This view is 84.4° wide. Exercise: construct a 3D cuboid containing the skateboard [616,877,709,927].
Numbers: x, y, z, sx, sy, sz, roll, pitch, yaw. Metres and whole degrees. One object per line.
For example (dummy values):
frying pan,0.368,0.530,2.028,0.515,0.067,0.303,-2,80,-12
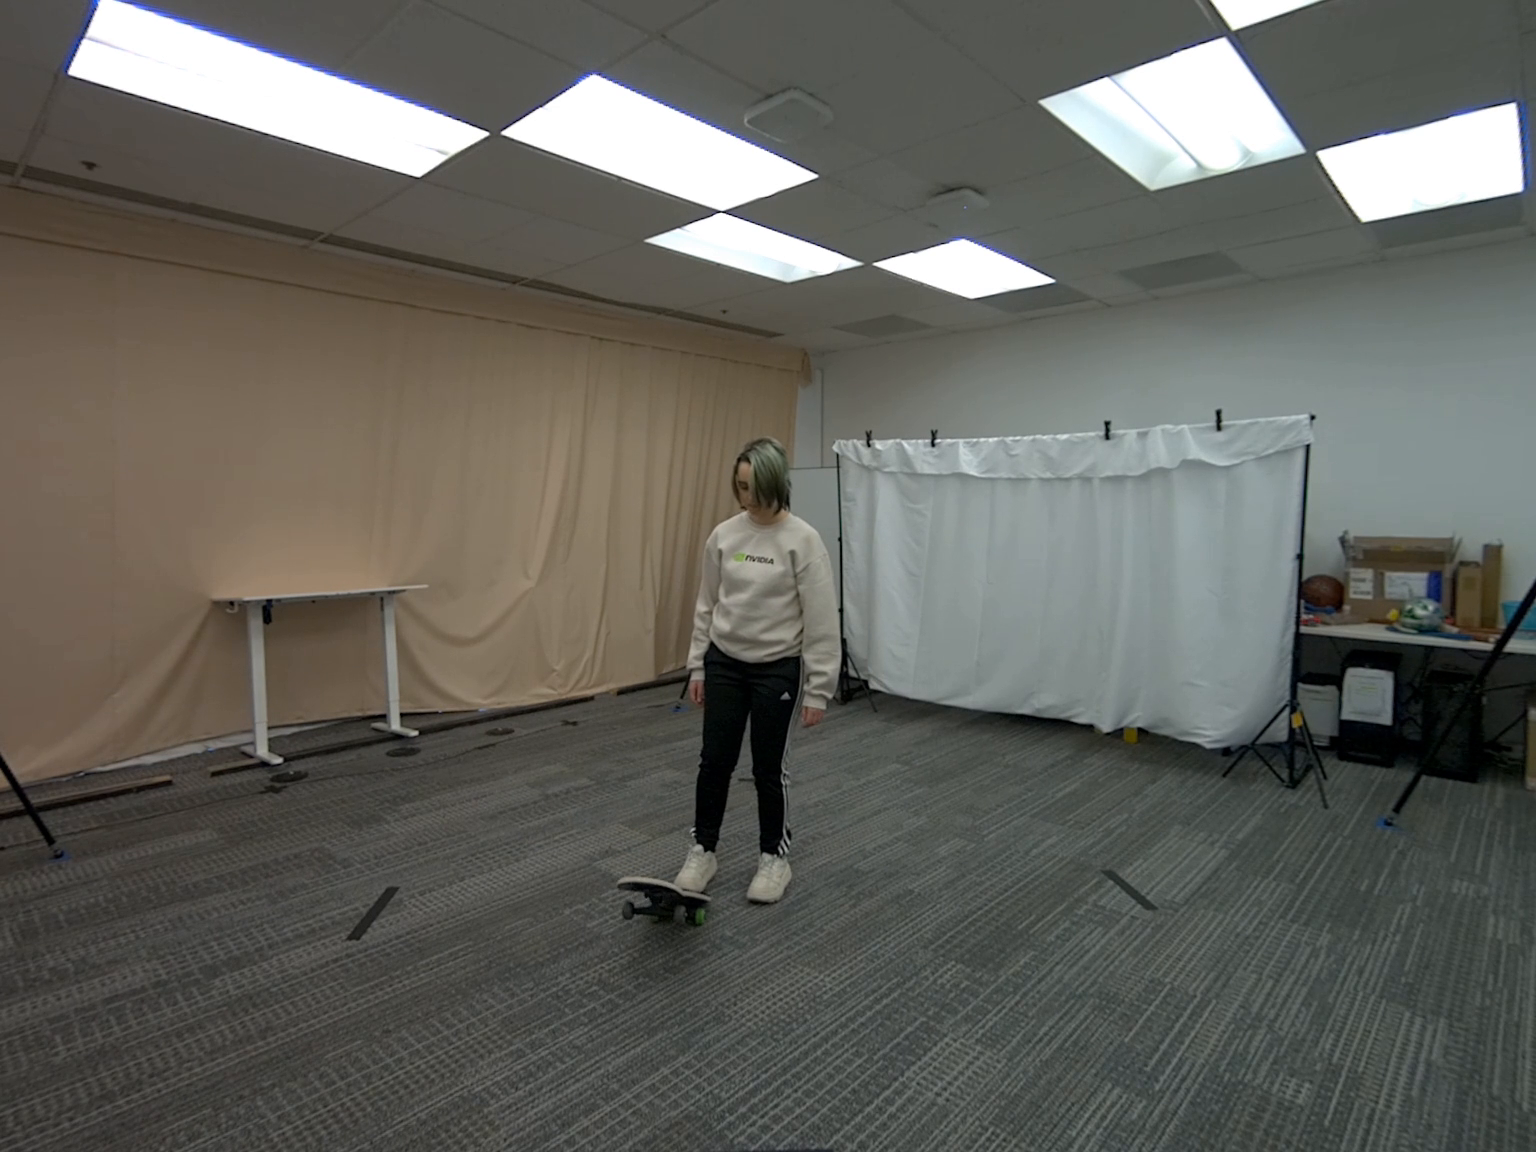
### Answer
skateboard,-0.320,1.035,2.647,0.195,0.111,0.769,2,-23,7
